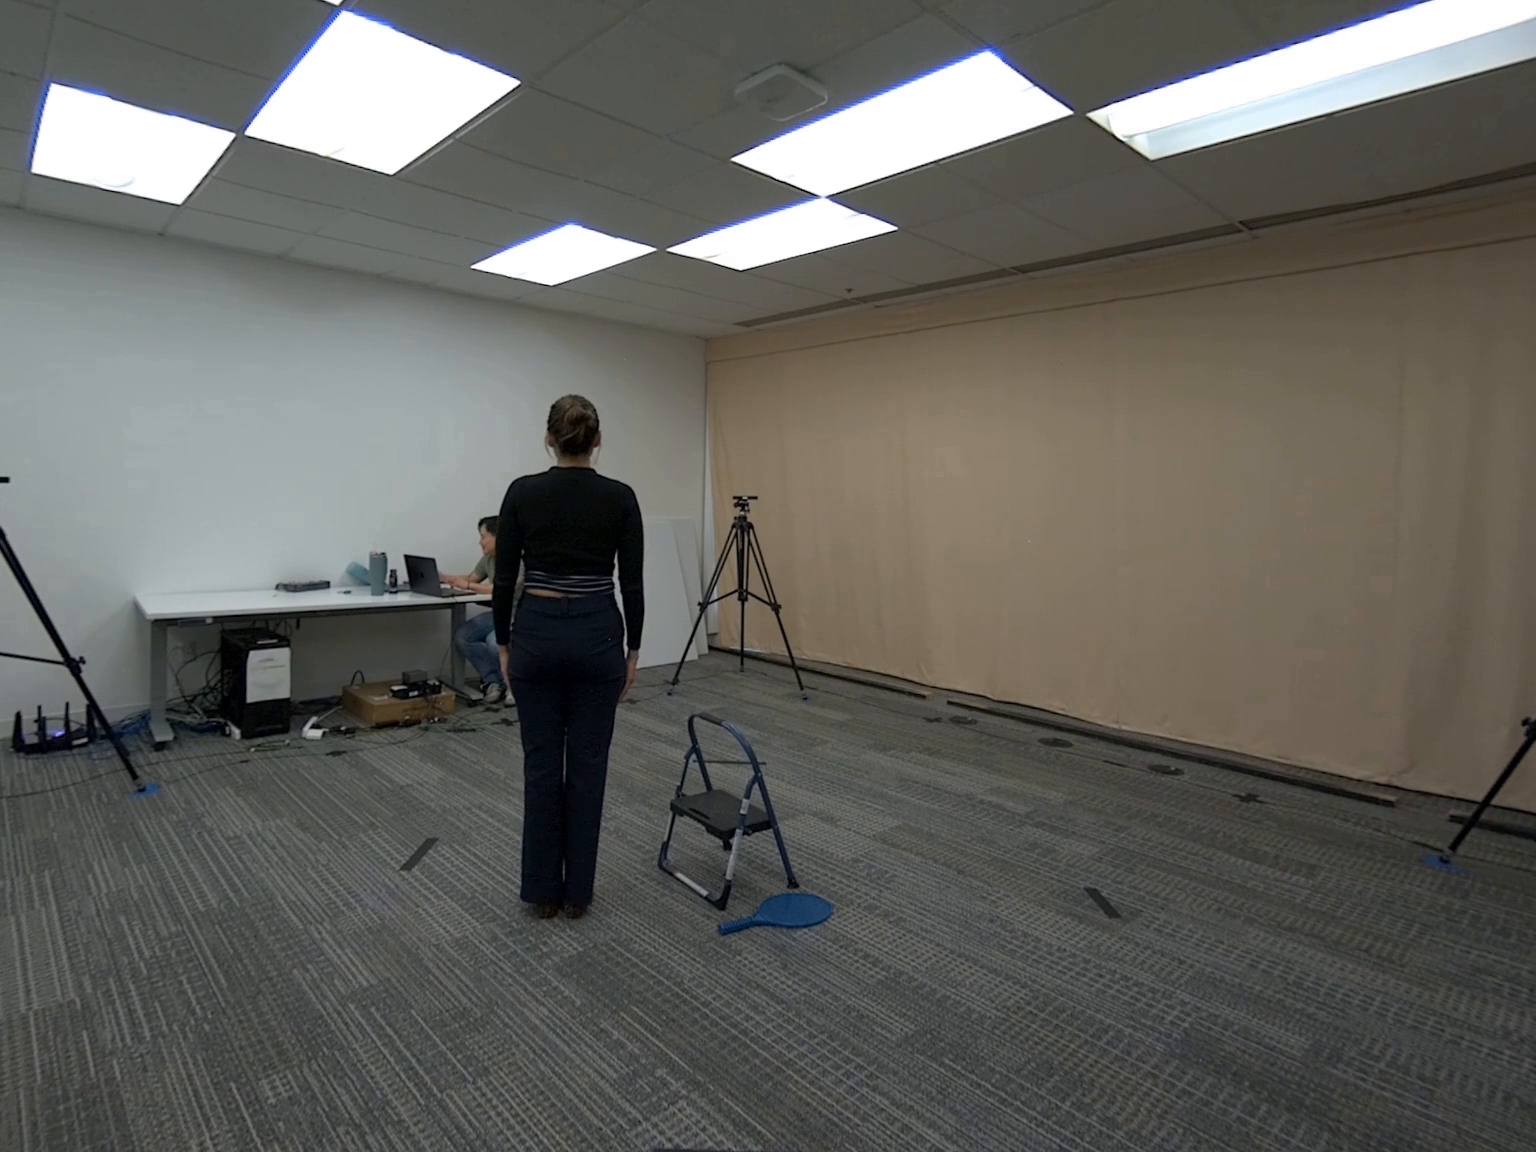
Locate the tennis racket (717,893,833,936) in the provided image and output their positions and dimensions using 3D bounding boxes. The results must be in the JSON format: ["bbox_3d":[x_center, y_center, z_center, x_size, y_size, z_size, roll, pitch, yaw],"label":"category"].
[{"bbox_3d":[0.019,1.120,2.793,0.423,0.031,0.219,-1,6,-35],"label":"tennis racket"}]
